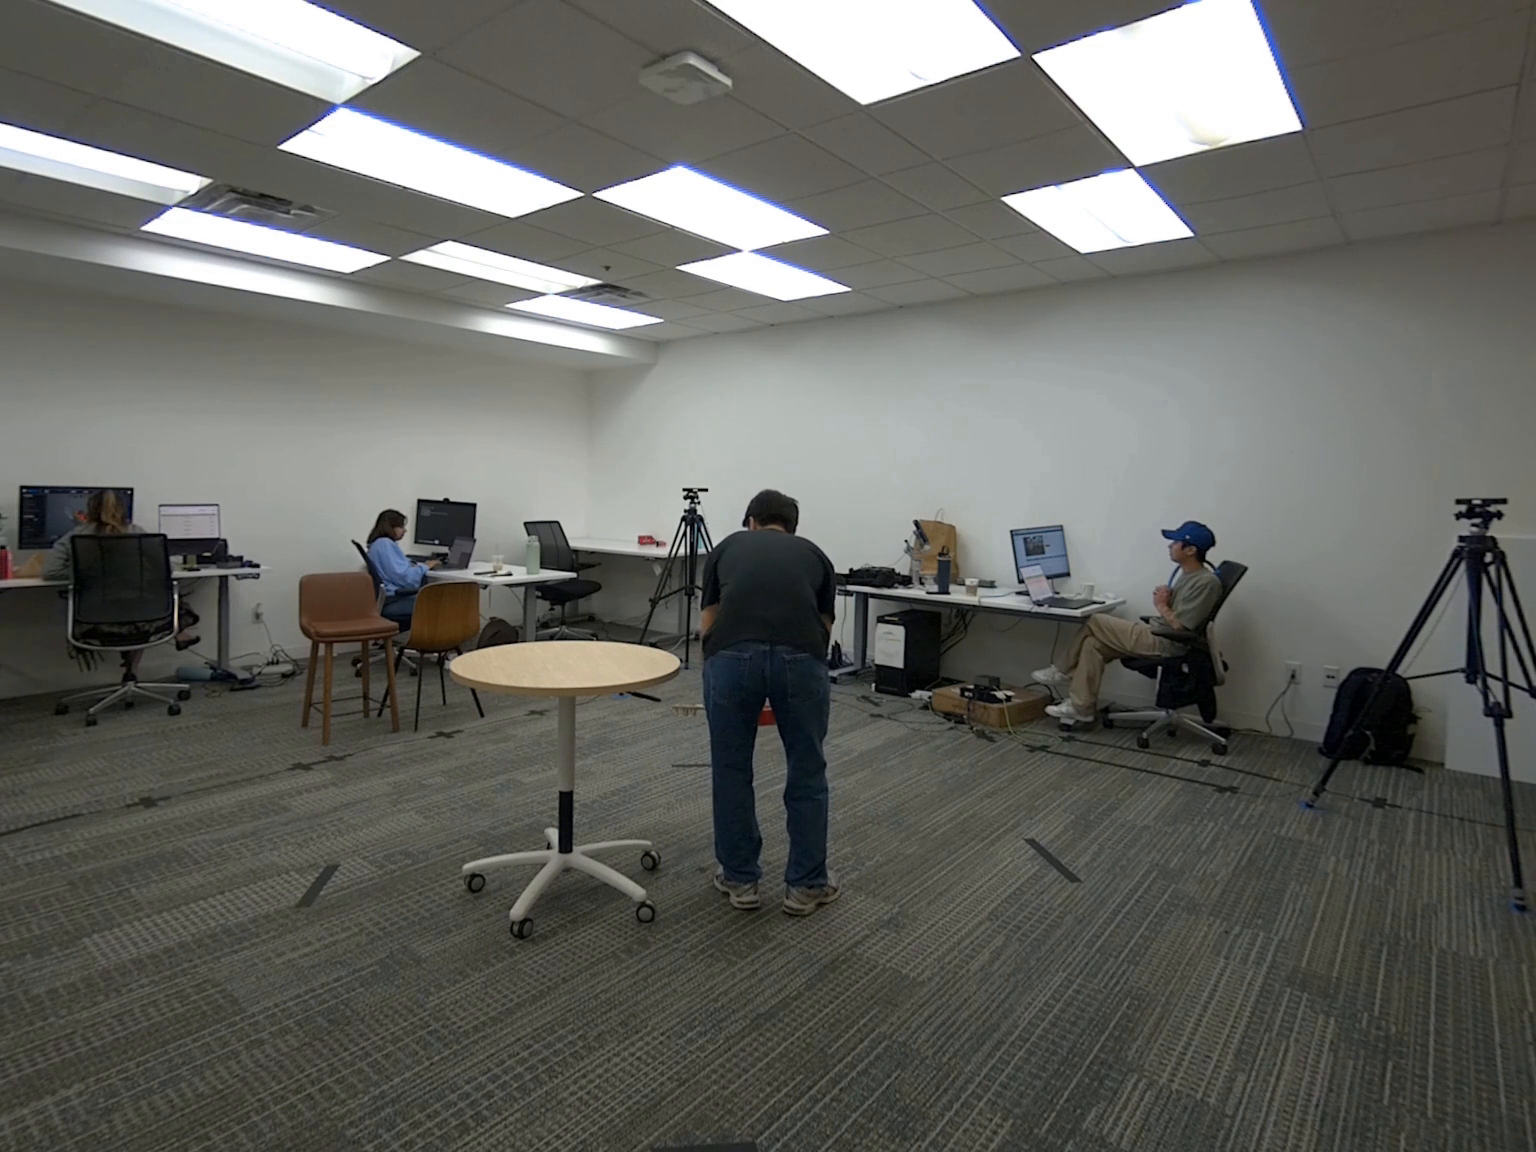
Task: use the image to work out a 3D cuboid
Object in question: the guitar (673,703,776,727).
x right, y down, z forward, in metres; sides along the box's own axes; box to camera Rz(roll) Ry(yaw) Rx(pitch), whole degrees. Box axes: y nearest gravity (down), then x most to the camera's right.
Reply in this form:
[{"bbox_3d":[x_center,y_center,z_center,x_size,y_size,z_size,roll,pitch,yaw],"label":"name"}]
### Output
[{"bbox_3d":[-0.171,0.545,3.374,0.512,0.071,0.187,-3,-3,38],"label":"guitar"}]
